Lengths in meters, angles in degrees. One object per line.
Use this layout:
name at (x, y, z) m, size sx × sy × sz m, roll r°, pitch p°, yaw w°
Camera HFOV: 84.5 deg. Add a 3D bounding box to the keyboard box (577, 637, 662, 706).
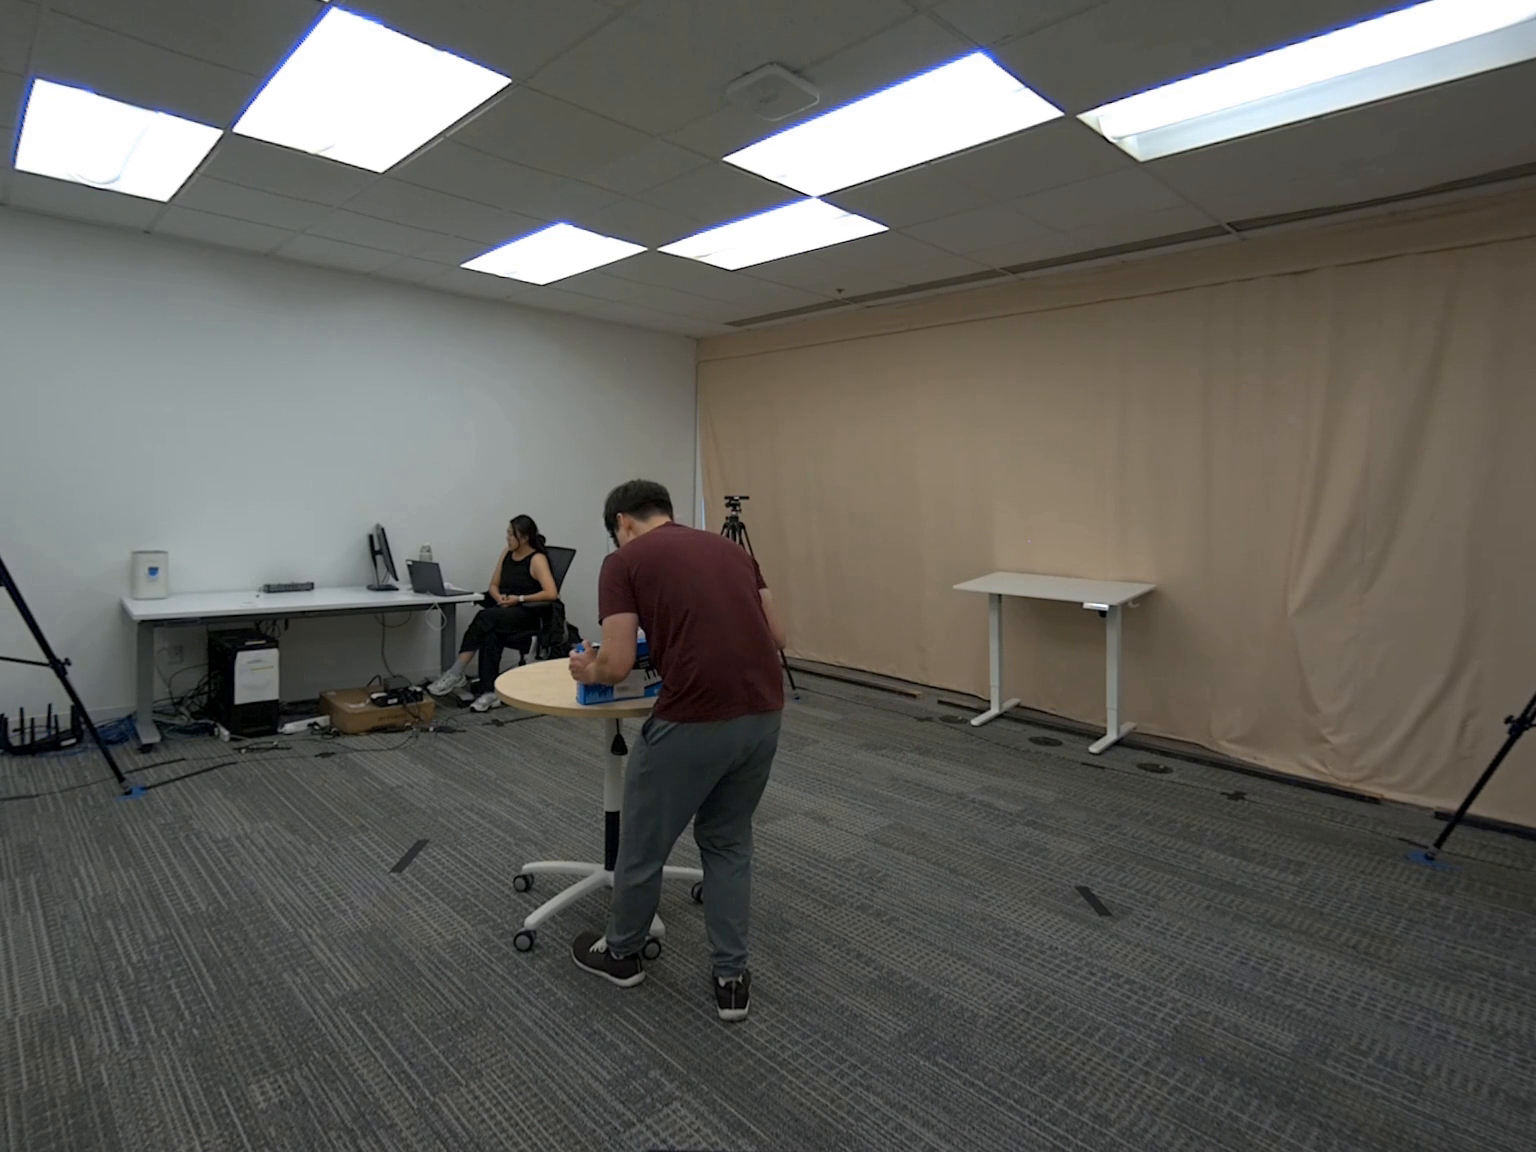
keyboard box at (-0.374, 0.289, 2.568) m, size 0.427 × 0.175 × 0.060 m, roll -3°, pitch 4°, yaw -34°
